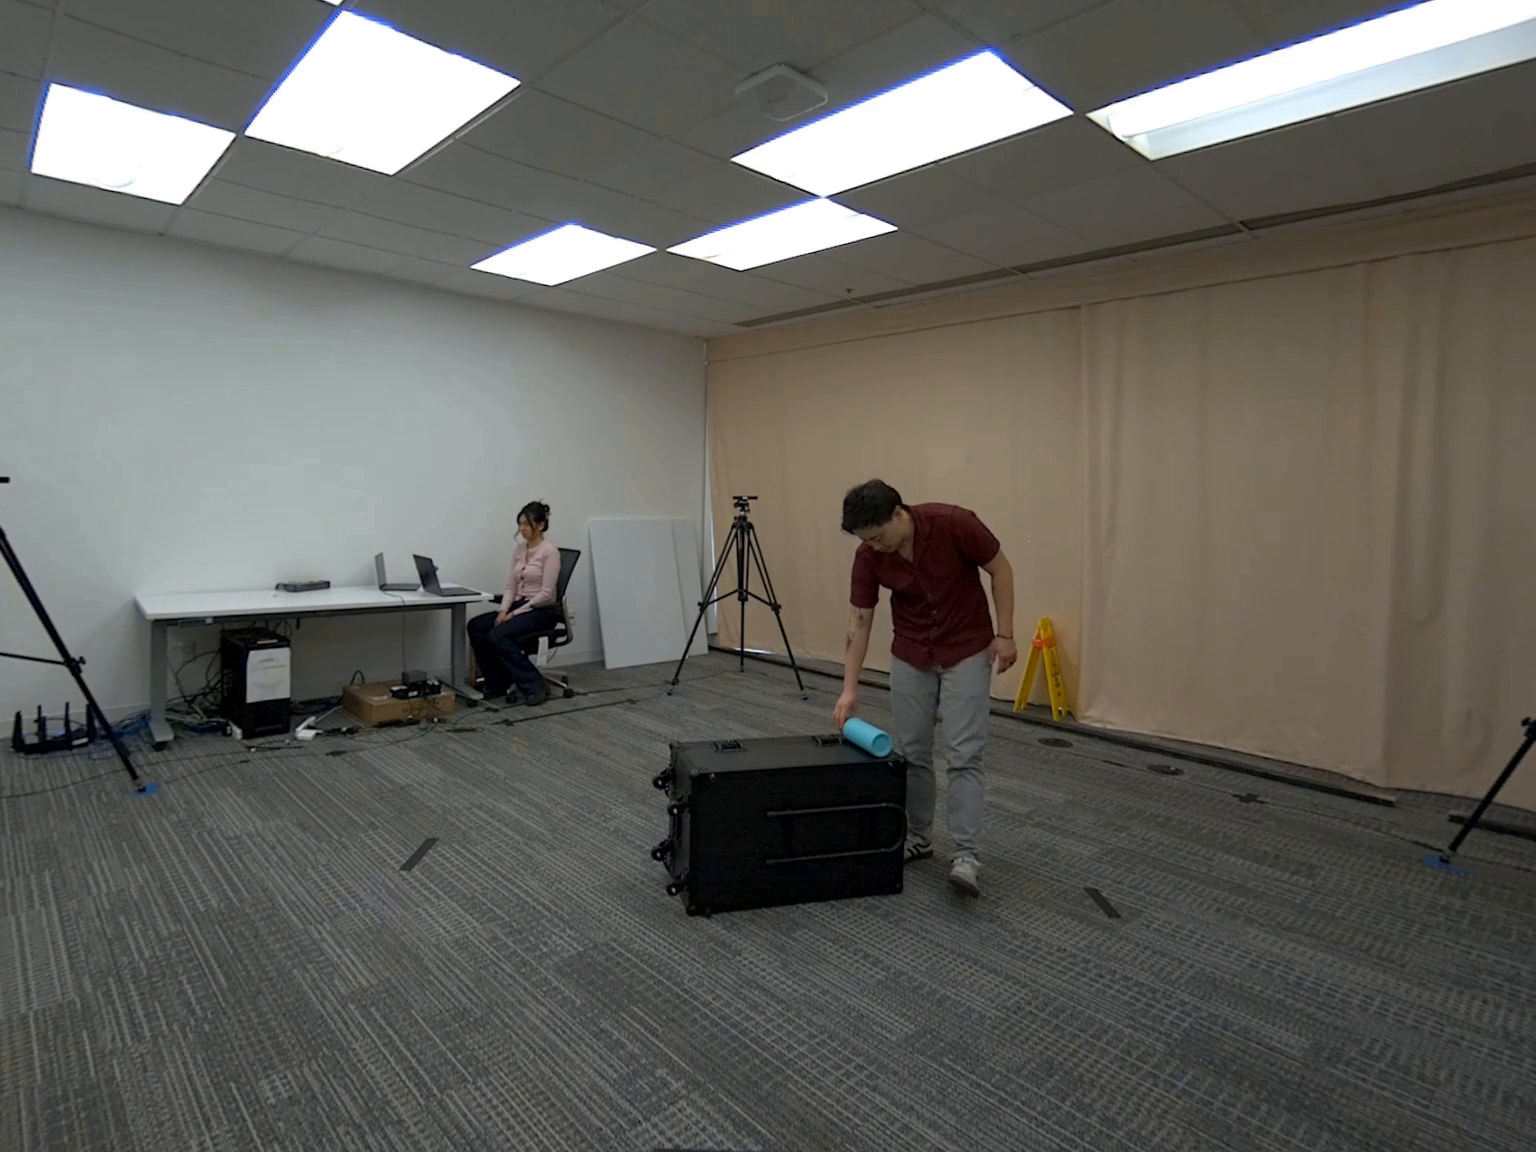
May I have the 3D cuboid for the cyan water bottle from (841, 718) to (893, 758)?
[{"bbox_3d":[0.346,0.579,3.099,0.091,0.092,0.288,0,4,-19],"label":"cyan water bottle"}]
